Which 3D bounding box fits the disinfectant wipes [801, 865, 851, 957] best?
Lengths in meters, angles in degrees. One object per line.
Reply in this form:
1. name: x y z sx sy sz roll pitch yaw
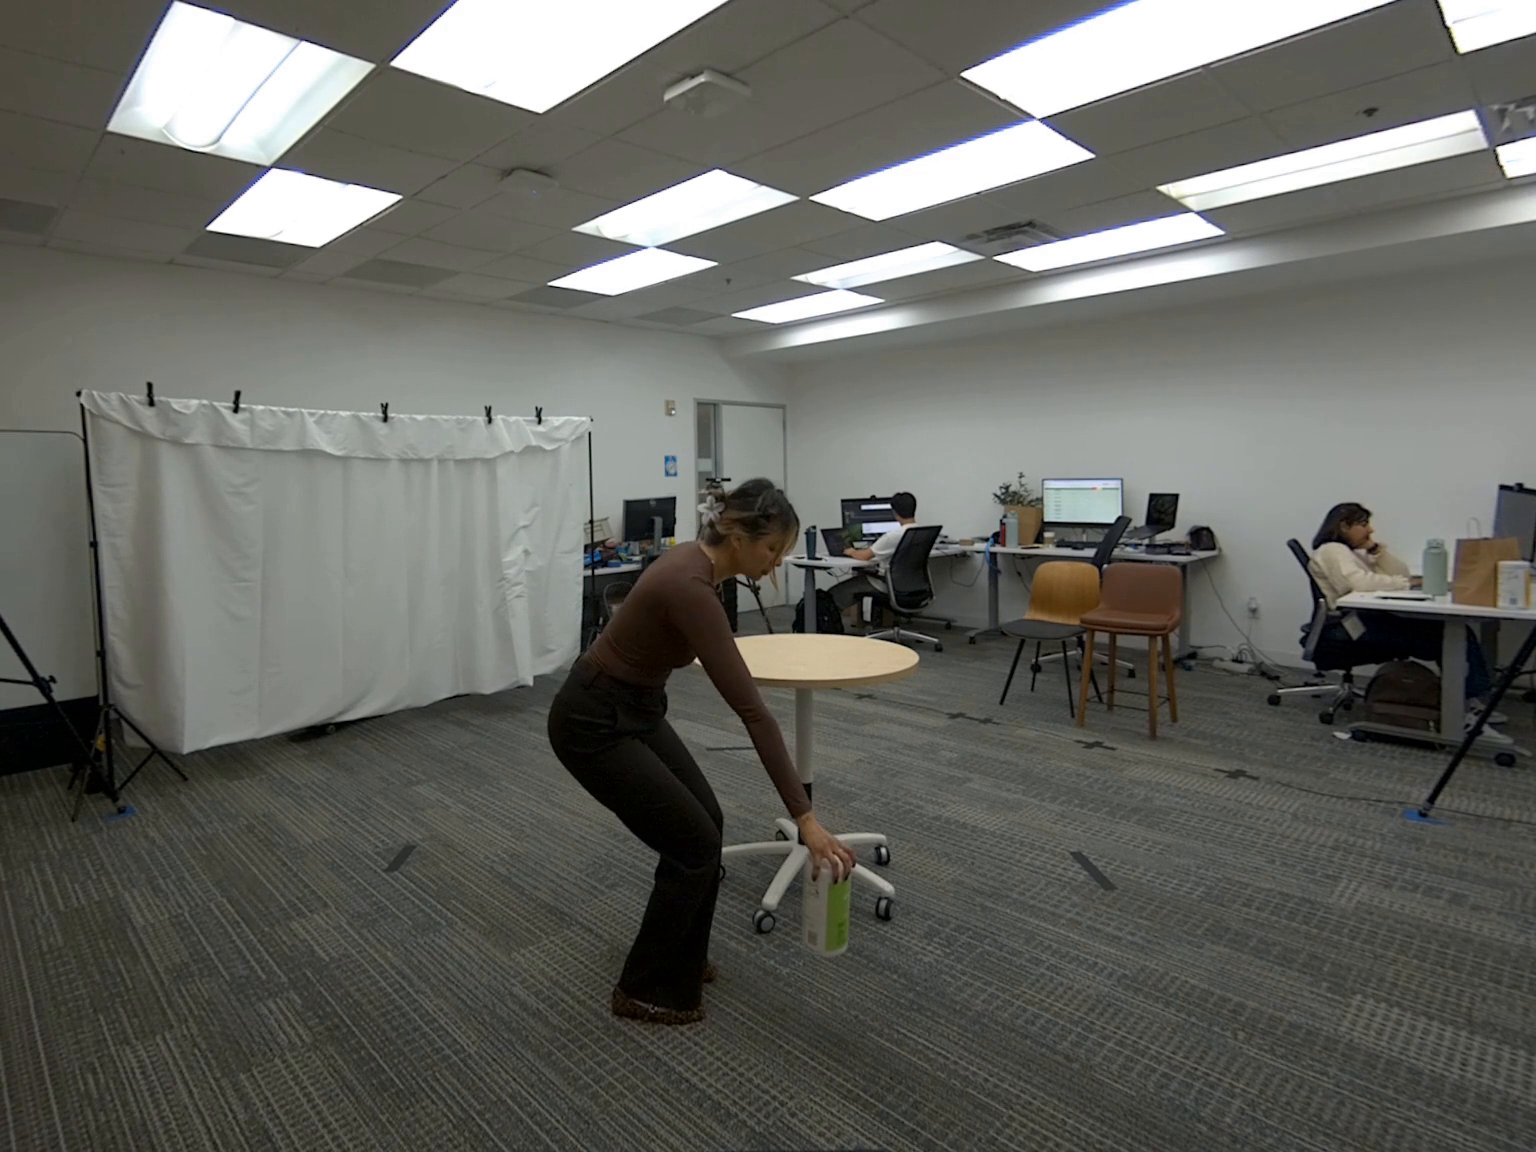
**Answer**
1. disinfectant wipes: 0.139 0.755 1.974 0.117 0.216 0.119 2 7 -2
